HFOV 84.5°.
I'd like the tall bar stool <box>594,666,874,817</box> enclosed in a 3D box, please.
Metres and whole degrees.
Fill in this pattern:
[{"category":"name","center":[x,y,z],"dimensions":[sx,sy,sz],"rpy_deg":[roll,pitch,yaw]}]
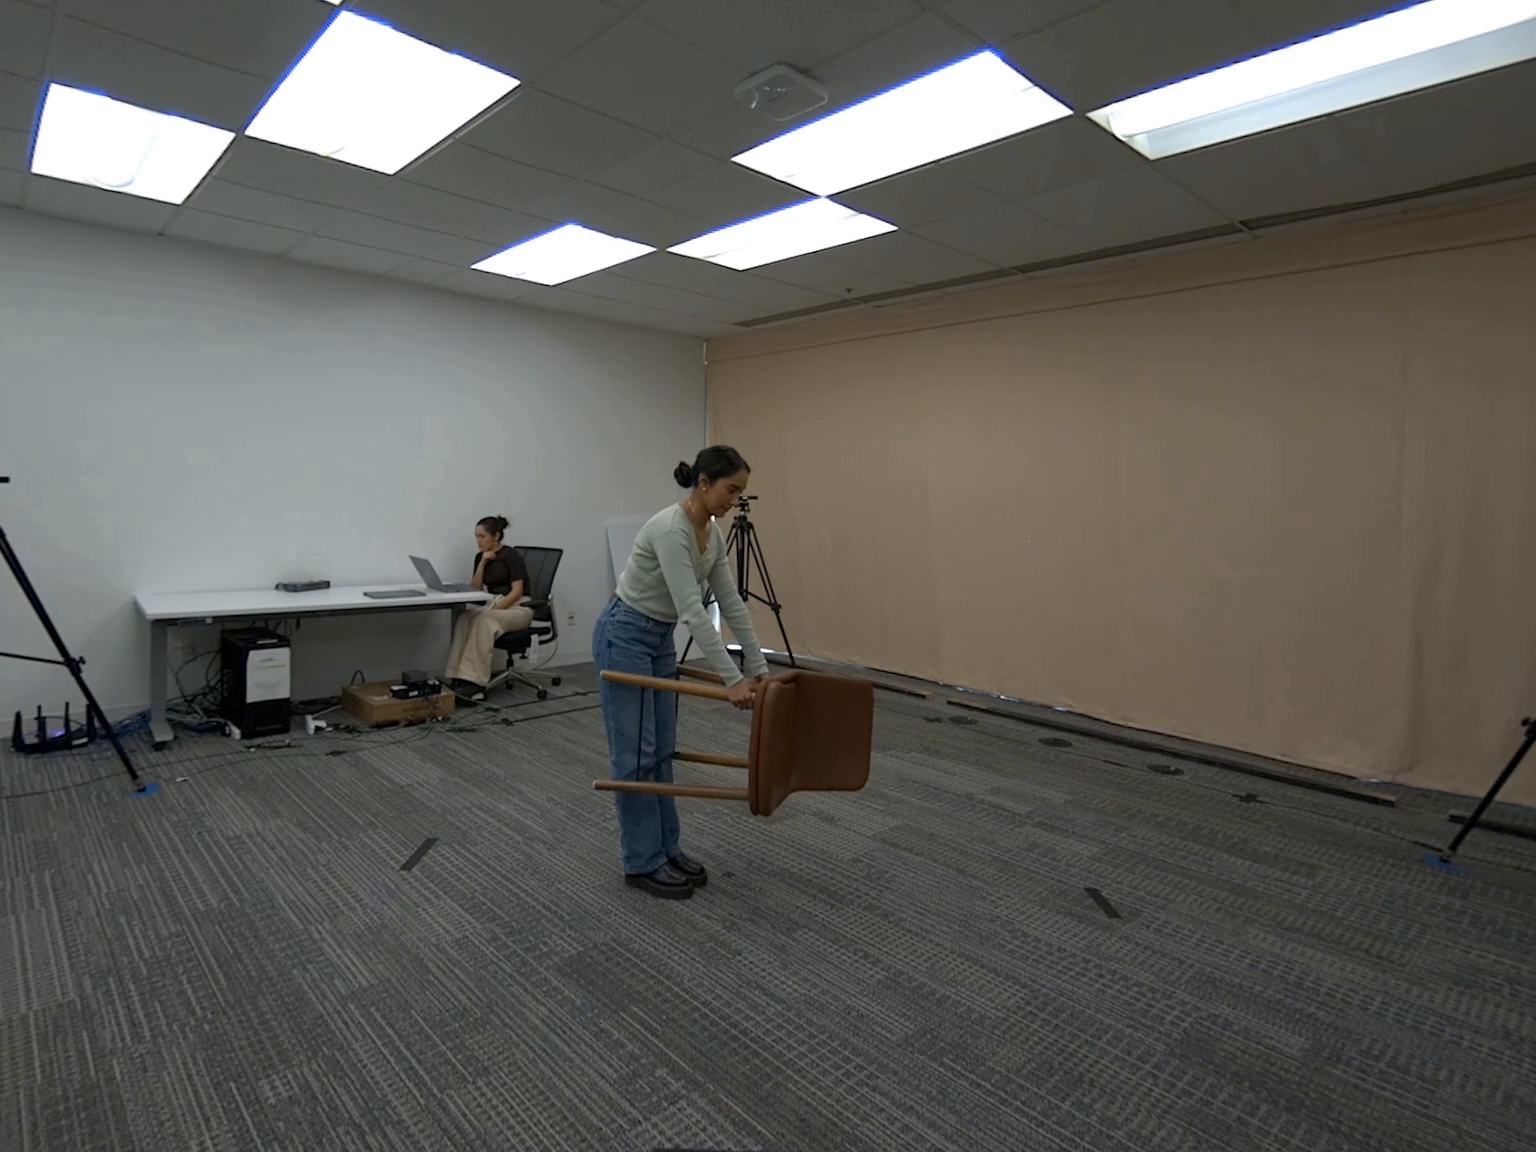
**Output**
[{"category":"tall bar stool","center":[-0.102,0.556,2.956],"dimensions":[0.901,0.456,0.462],"rpy_deg":[4,2,15]}]
